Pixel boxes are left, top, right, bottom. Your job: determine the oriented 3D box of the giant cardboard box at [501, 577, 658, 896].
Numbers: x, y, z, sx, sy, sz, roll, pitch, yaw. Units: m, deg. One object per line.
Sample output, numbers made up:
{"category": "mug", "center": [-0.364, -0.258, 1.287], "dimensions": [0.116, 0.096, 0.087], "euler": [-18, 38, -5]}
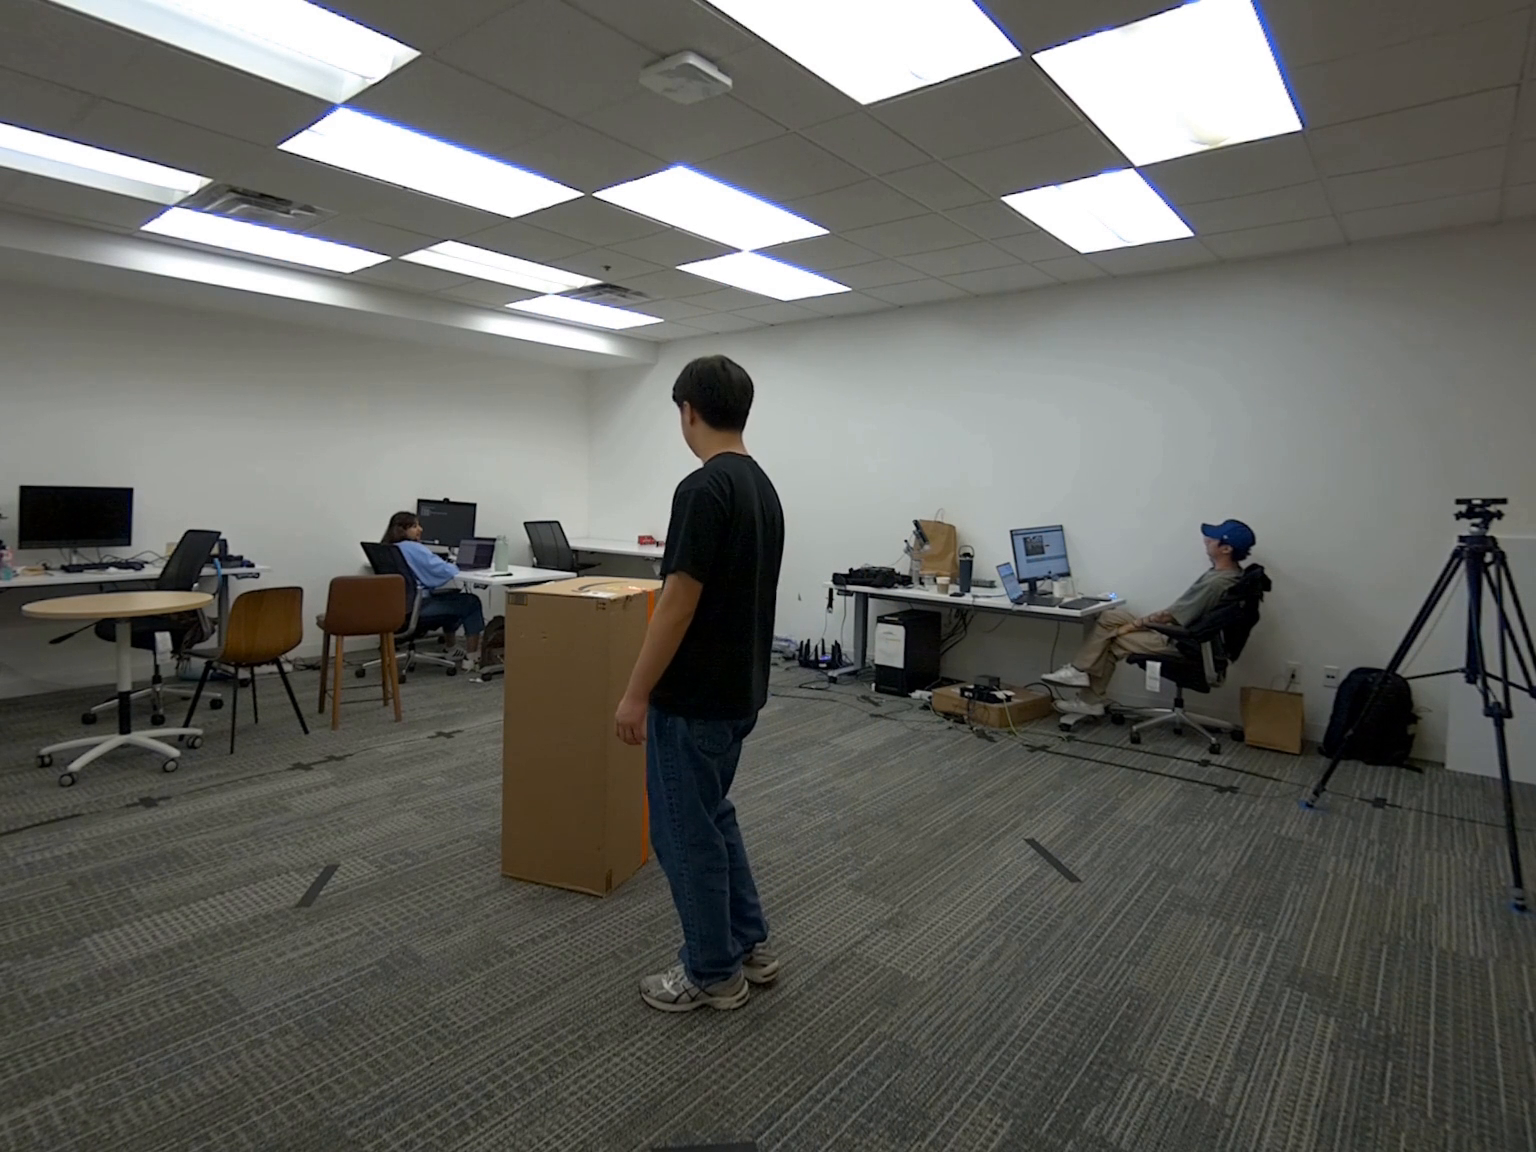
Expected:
{"category": "giant cardboard box", "center": [-0.663, 0.542, 3.192], "dimensions": [0.457, 1.024, 0.573], "euler": [3, 3, 20]}
